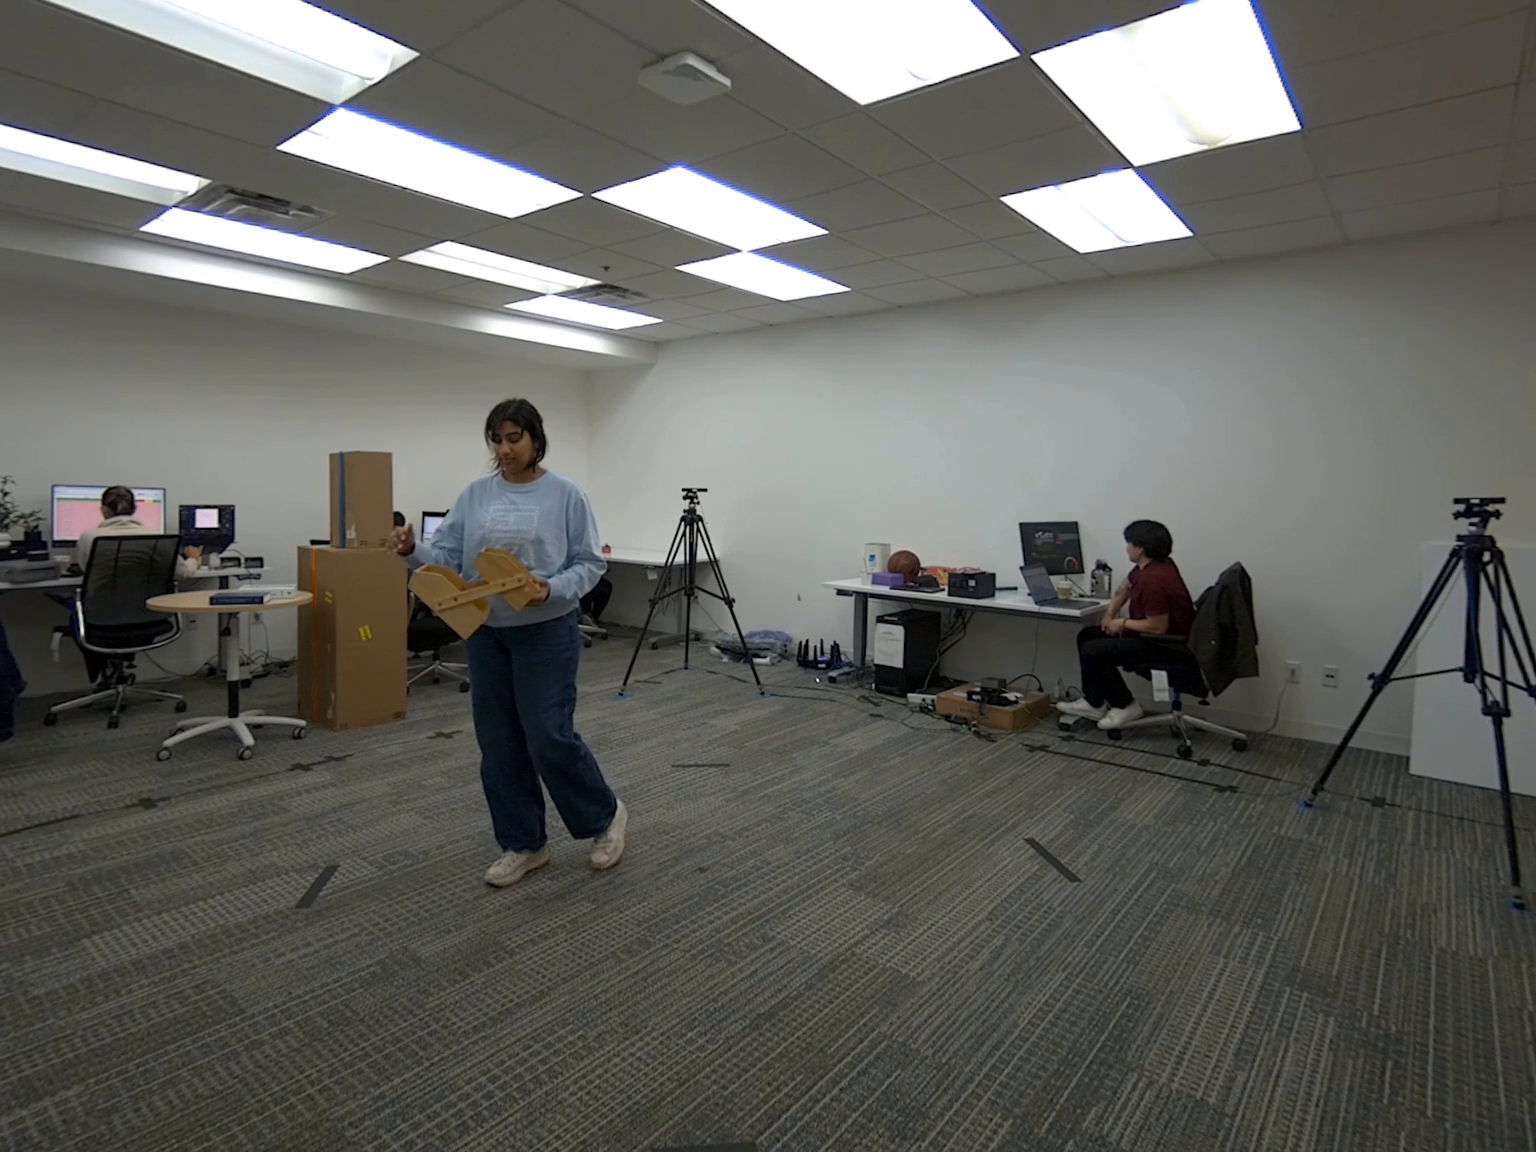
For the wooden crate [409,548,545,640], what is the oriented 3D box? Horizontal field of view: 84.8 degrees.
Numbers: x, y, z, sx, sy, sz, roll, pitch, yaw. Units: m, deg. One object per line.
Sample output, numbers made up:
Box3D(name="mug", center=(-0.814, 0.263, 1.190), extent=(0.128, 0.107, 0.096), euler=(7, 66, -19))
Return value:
Box3D(name="wooden crate", center=(-0.931, 0.012, 2.687), extent=(0.297, 0.273, 0.330), euler=(46, -8, -12))
